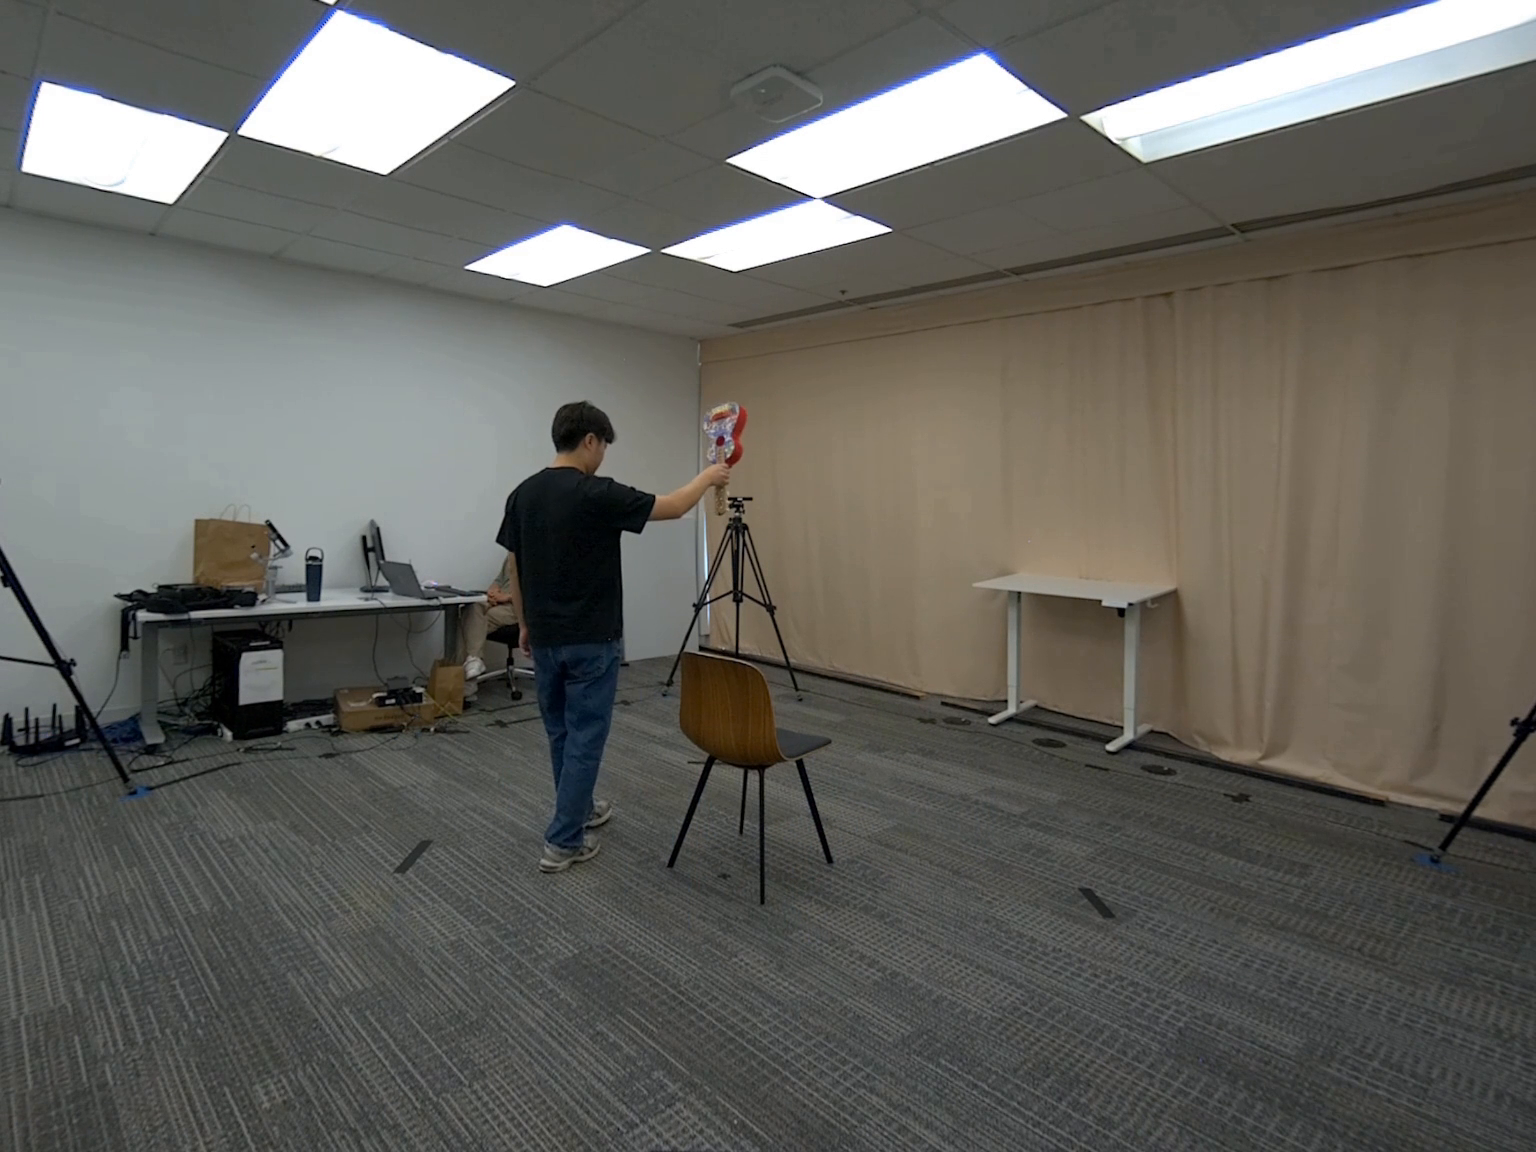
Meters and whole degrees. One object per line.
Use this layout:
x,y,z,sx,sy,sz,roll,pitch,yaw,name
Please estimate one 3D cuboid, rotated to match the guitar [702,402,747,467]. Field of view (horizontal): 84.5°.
-0.212,-0.483,3.495,0.197,0.502,0.068,-4,-17,36,guitar
